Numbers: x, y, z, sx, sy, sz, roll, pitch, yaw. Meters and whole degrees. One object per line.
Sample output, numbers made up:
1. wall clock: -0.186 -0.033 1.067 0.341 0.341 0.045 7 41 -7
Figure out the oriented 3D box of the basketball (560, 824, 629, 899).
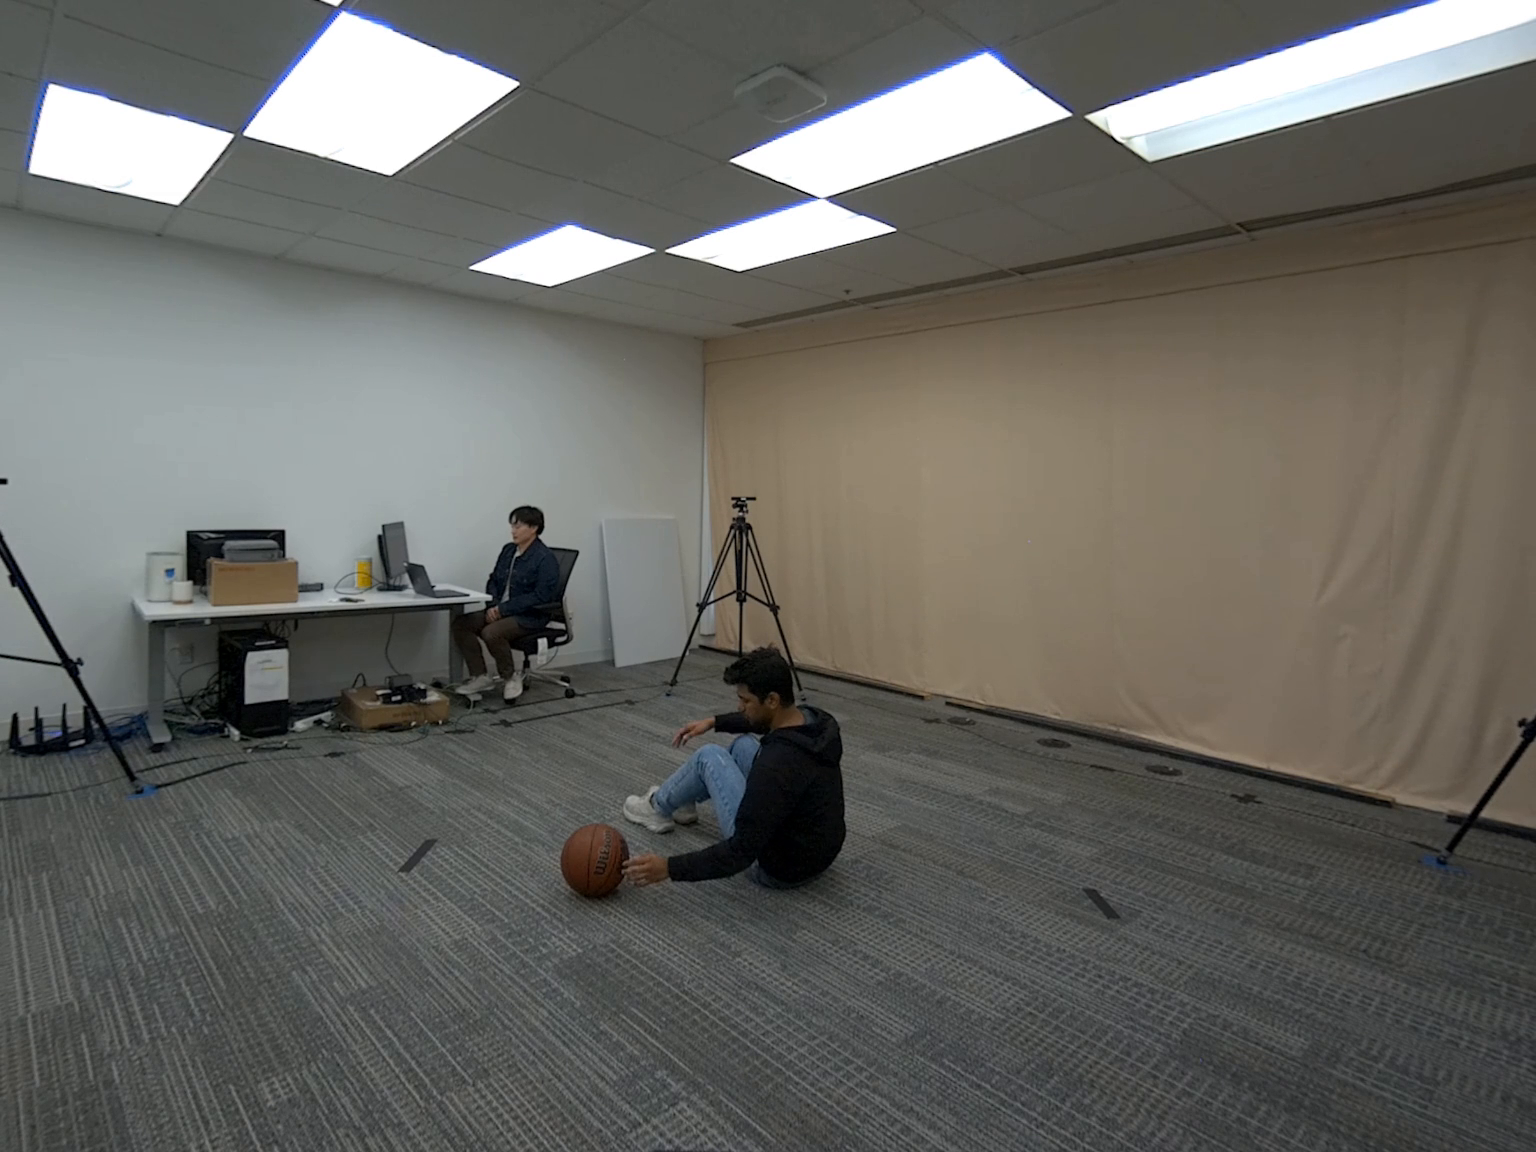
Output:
1. basketball: -0.604 0.984 2.948 0.236 0.235 0.237 1 4 -1
